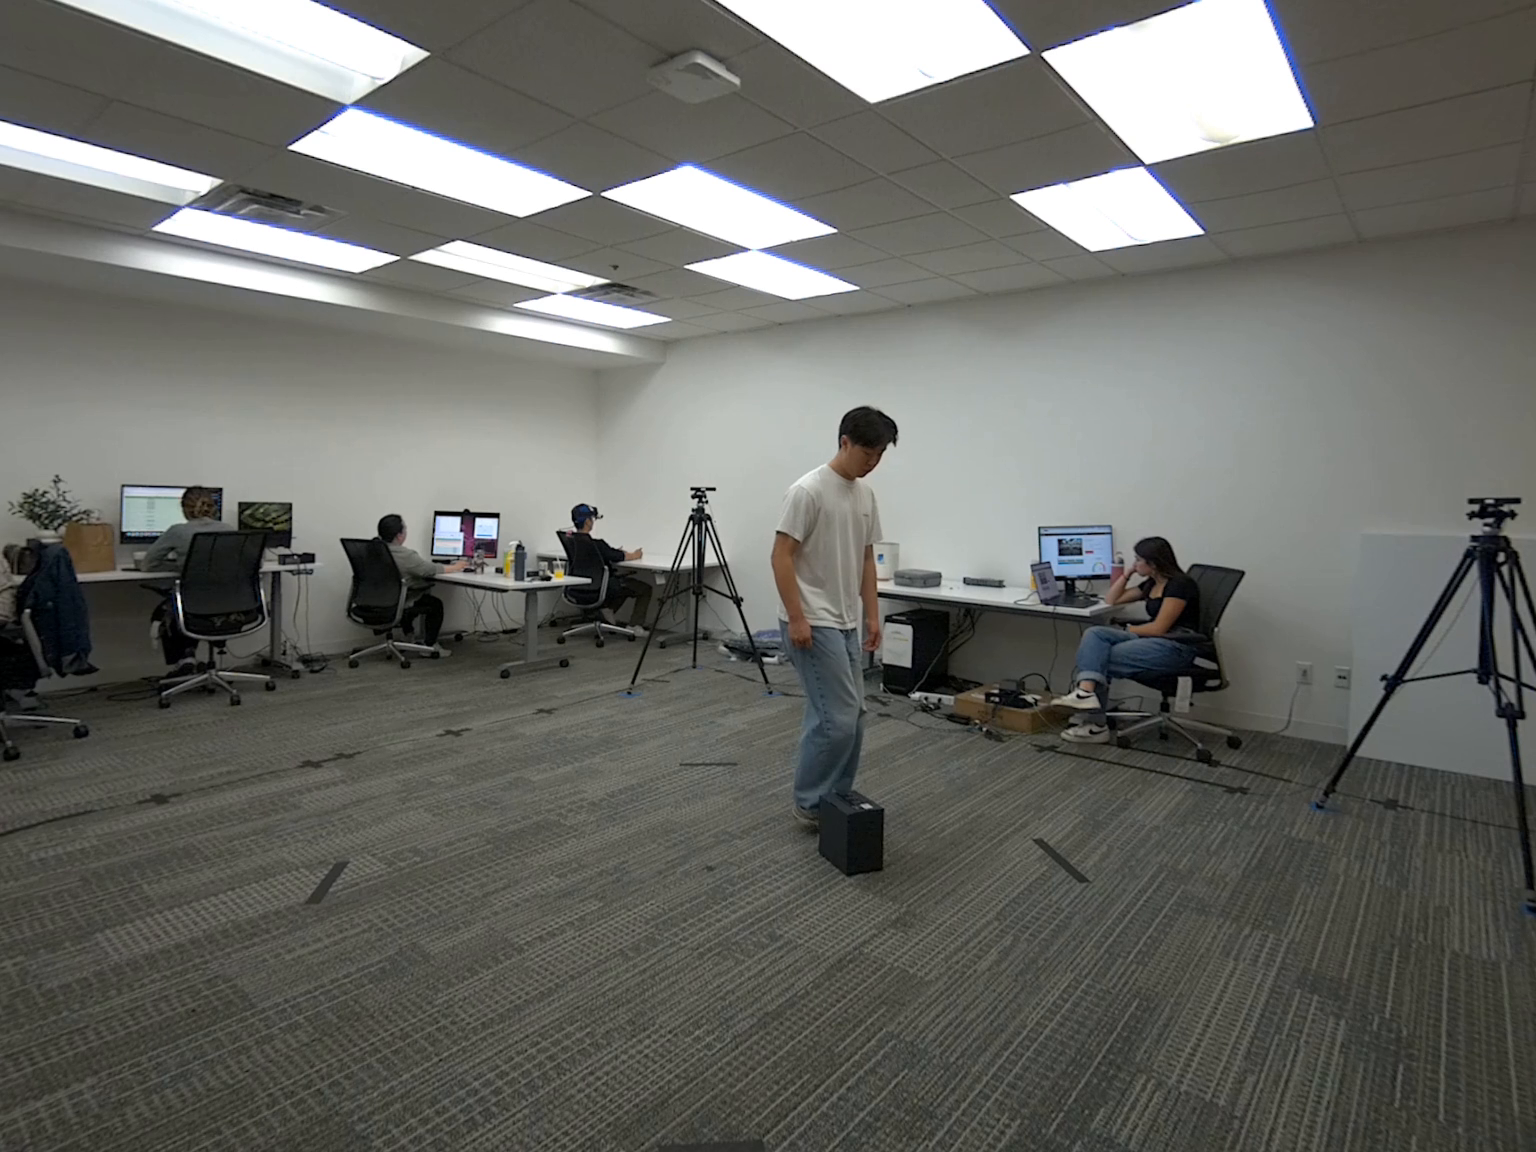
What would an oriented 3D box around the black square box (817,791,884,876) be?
[{"bbox_3d":[0.300,0.947,3.187,0.152,0.227,0.223,-2,5,-25],"label":"black square box"}]
